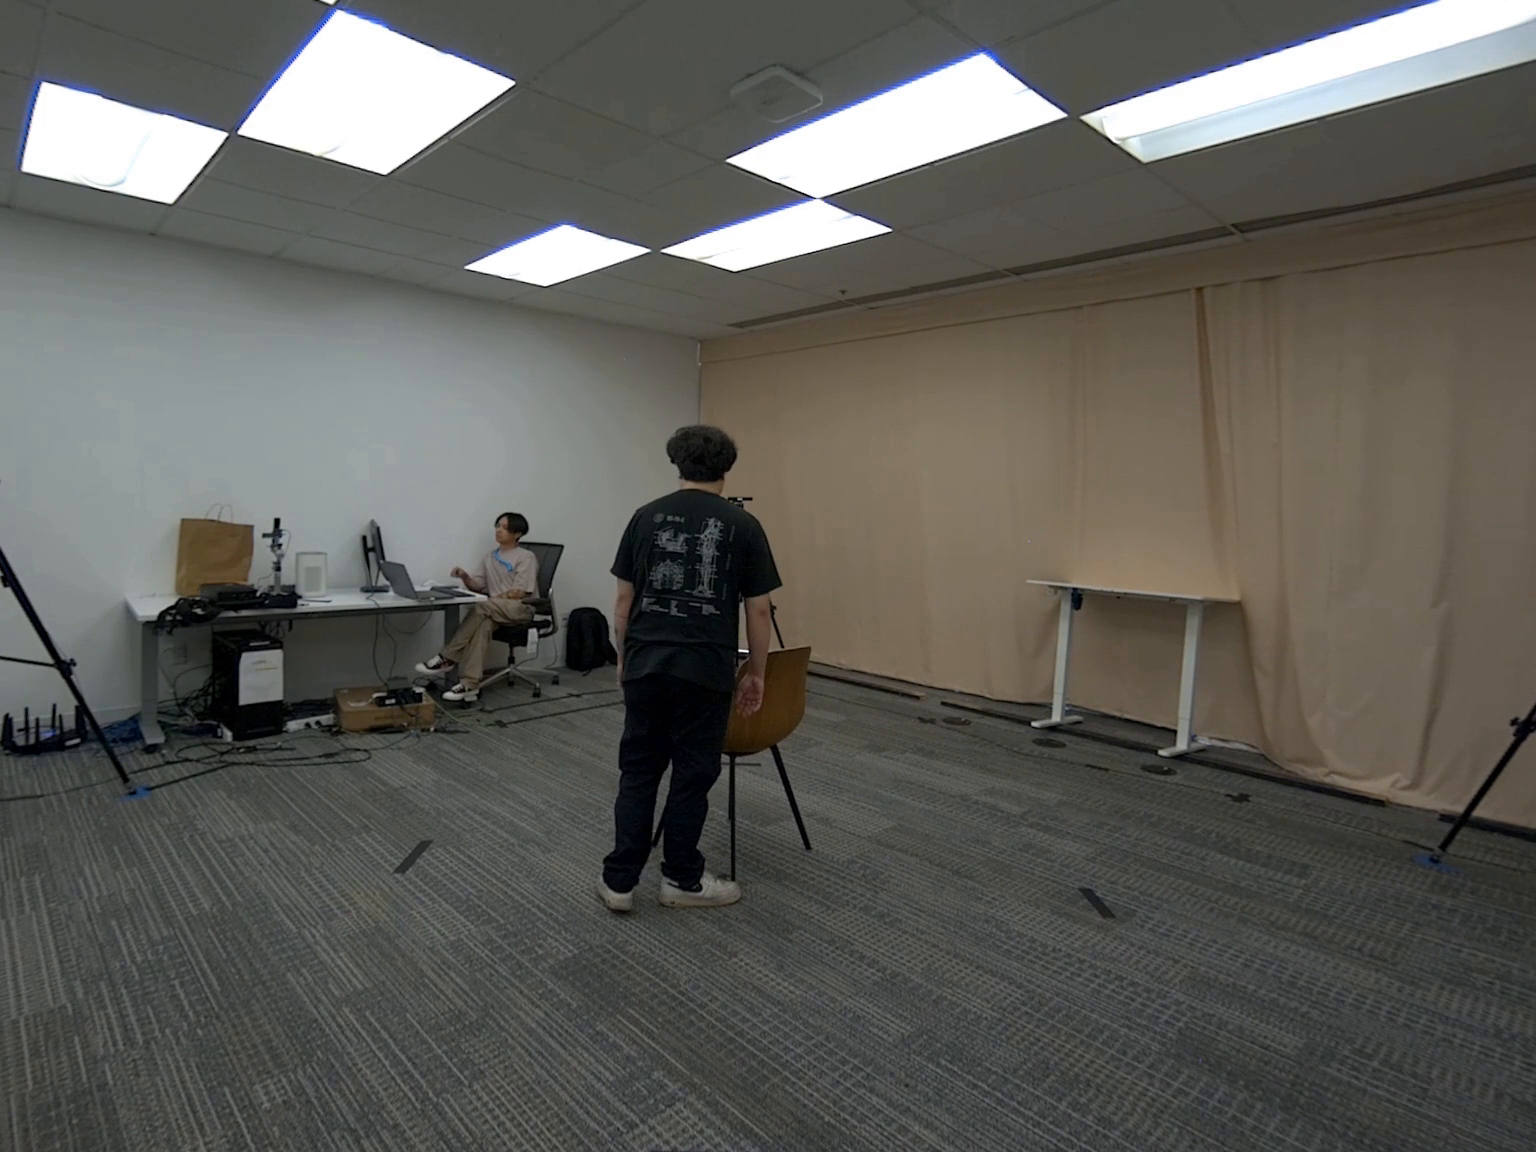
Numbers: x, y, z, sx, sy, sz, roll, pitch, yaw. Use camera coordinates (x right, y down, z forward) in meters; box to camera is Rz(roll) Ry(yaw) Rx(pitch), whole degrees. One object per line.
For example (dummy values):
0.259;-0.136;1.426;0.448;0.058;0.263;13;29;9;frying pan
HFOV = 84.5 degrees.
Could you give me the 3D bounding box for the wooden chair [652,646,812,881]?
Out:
-0.141;0.663;3.334;0.537;0.873;0.467;10;9;42;wooden chair
